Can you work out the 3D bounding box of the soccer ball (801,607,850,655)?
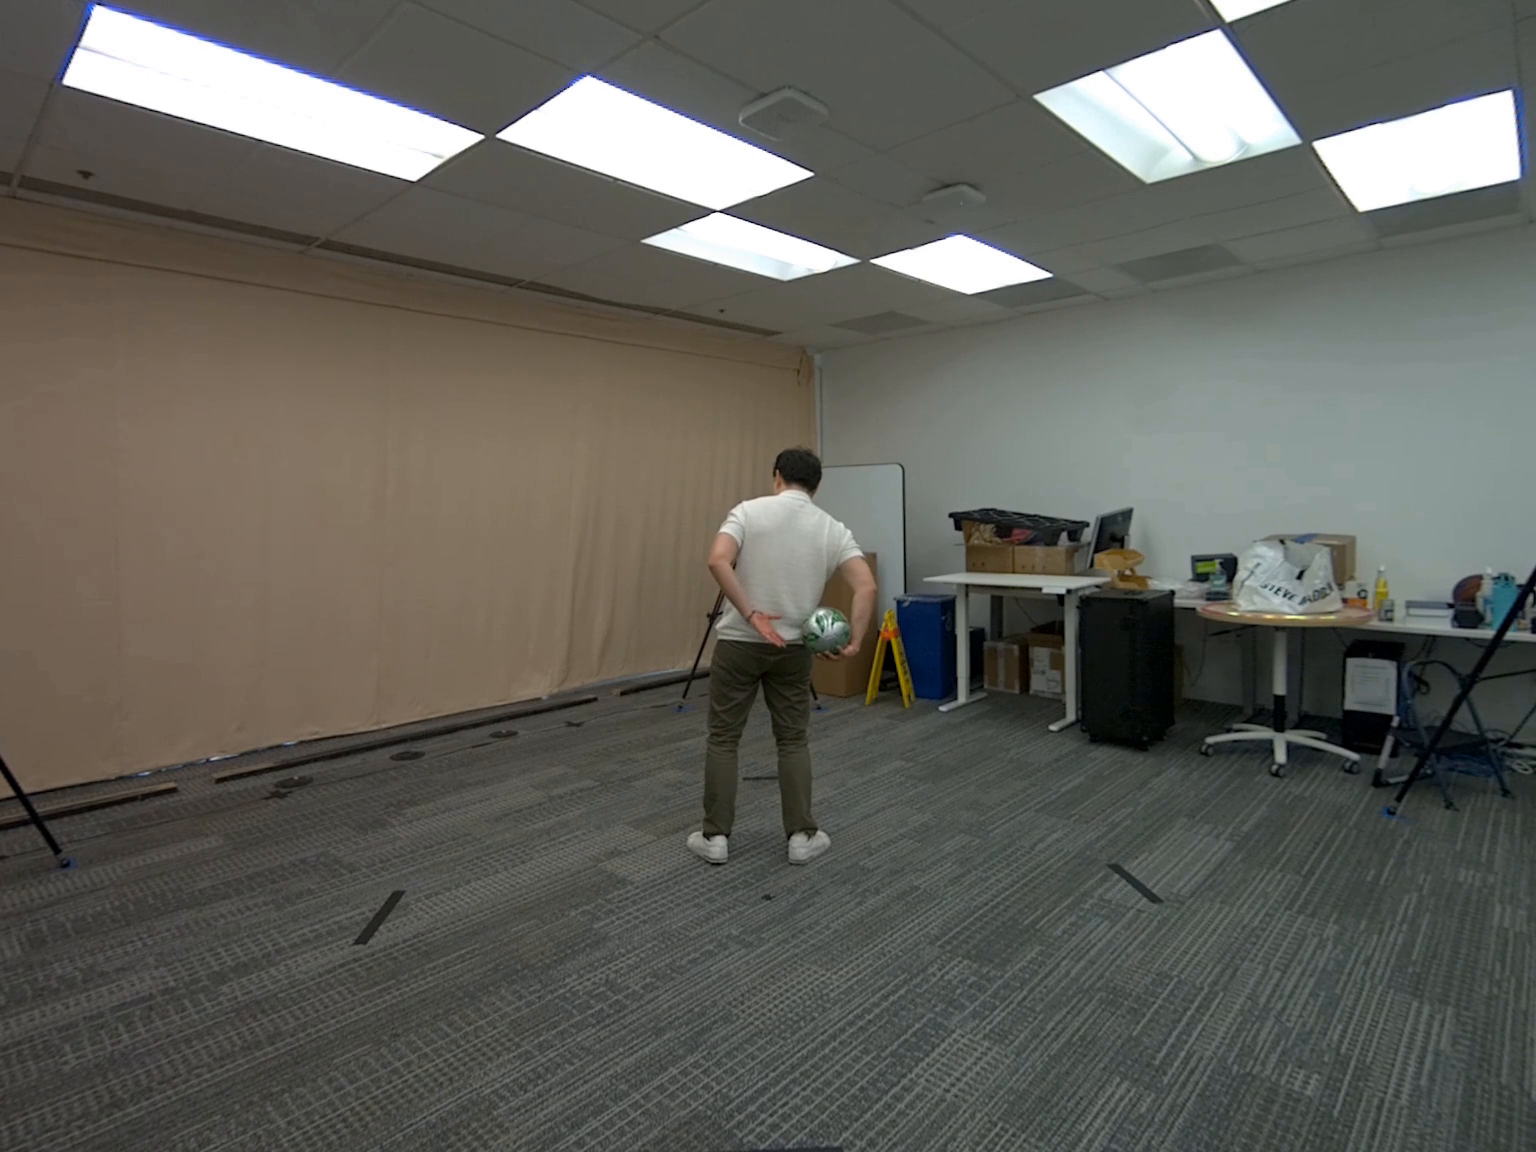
[{"bbox_3d":[0.222,0.210,3.163,0.187,0.187,0.188,-1,4,-2],"label":"soccer ball"}]
